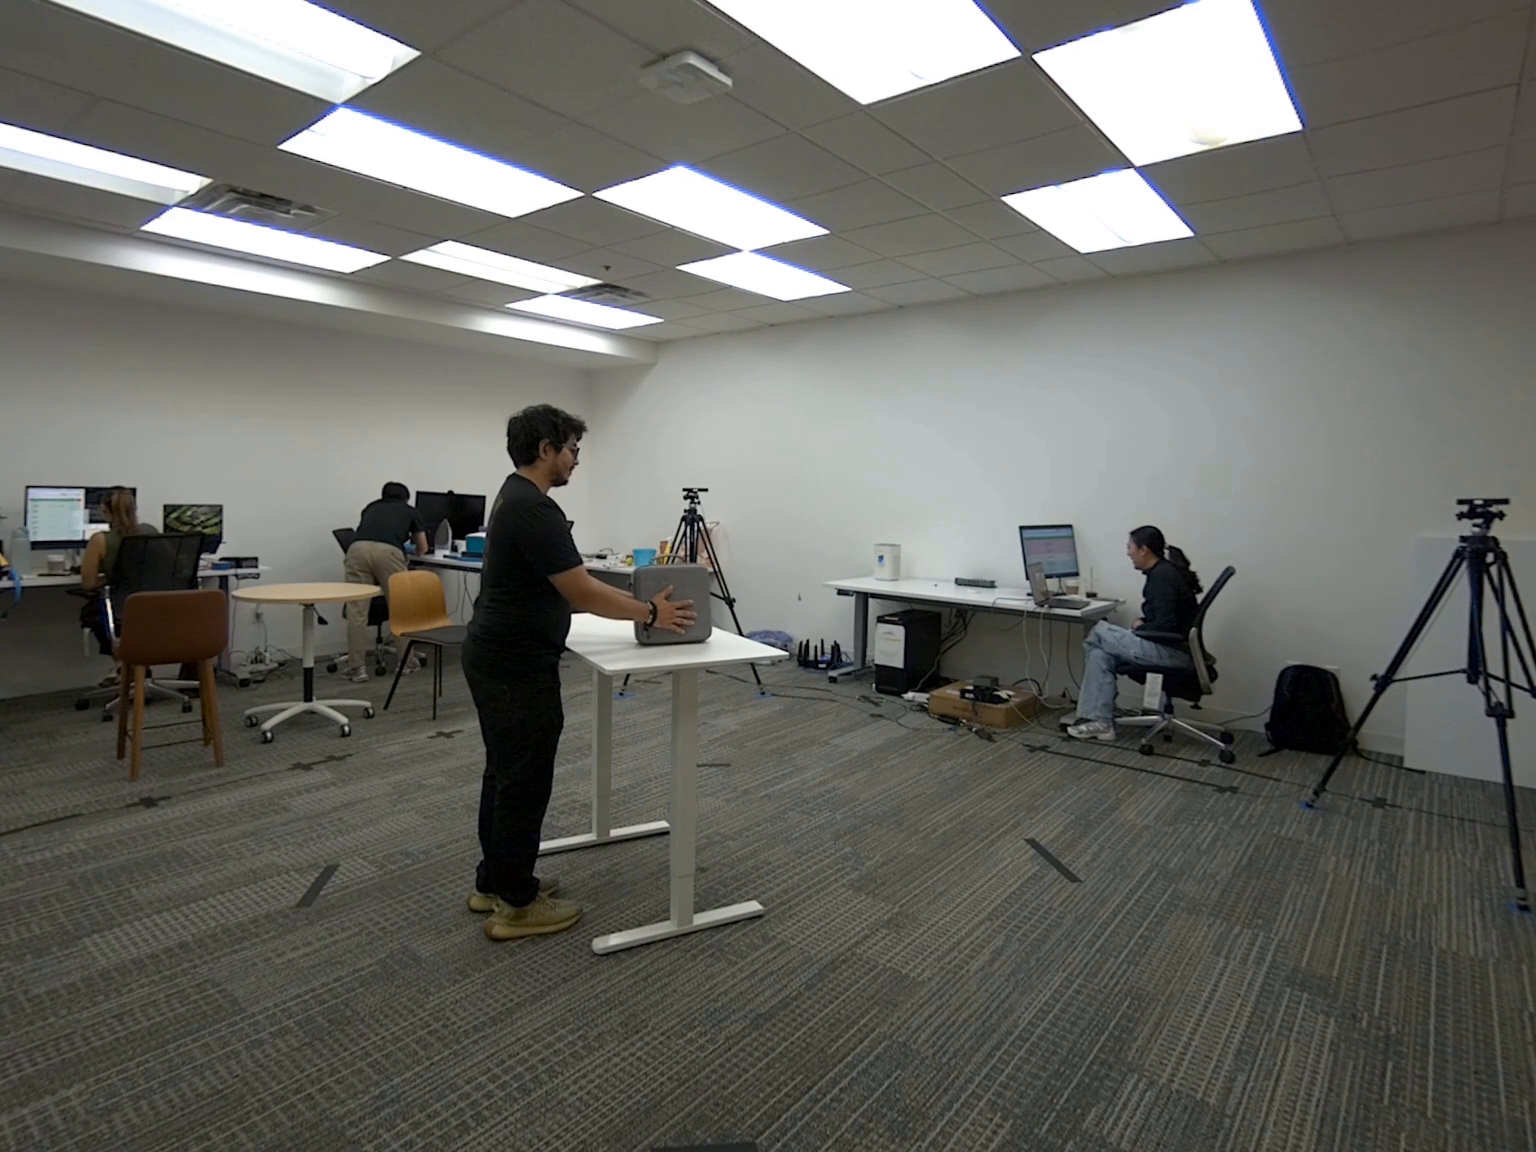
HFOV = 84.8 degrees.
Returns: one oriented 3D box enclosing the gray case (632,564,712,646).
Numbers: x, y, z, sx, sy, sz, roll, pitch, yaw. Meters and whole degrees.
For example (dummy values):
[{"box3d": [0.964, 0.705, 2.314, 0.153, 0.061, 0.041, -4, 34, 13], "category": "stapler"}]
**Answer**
[{"box3d": [-0.330, 0.089, 2.794, 0.253, 0.262, 0.105, -1, -5, -14], "category": "gray case"}]
